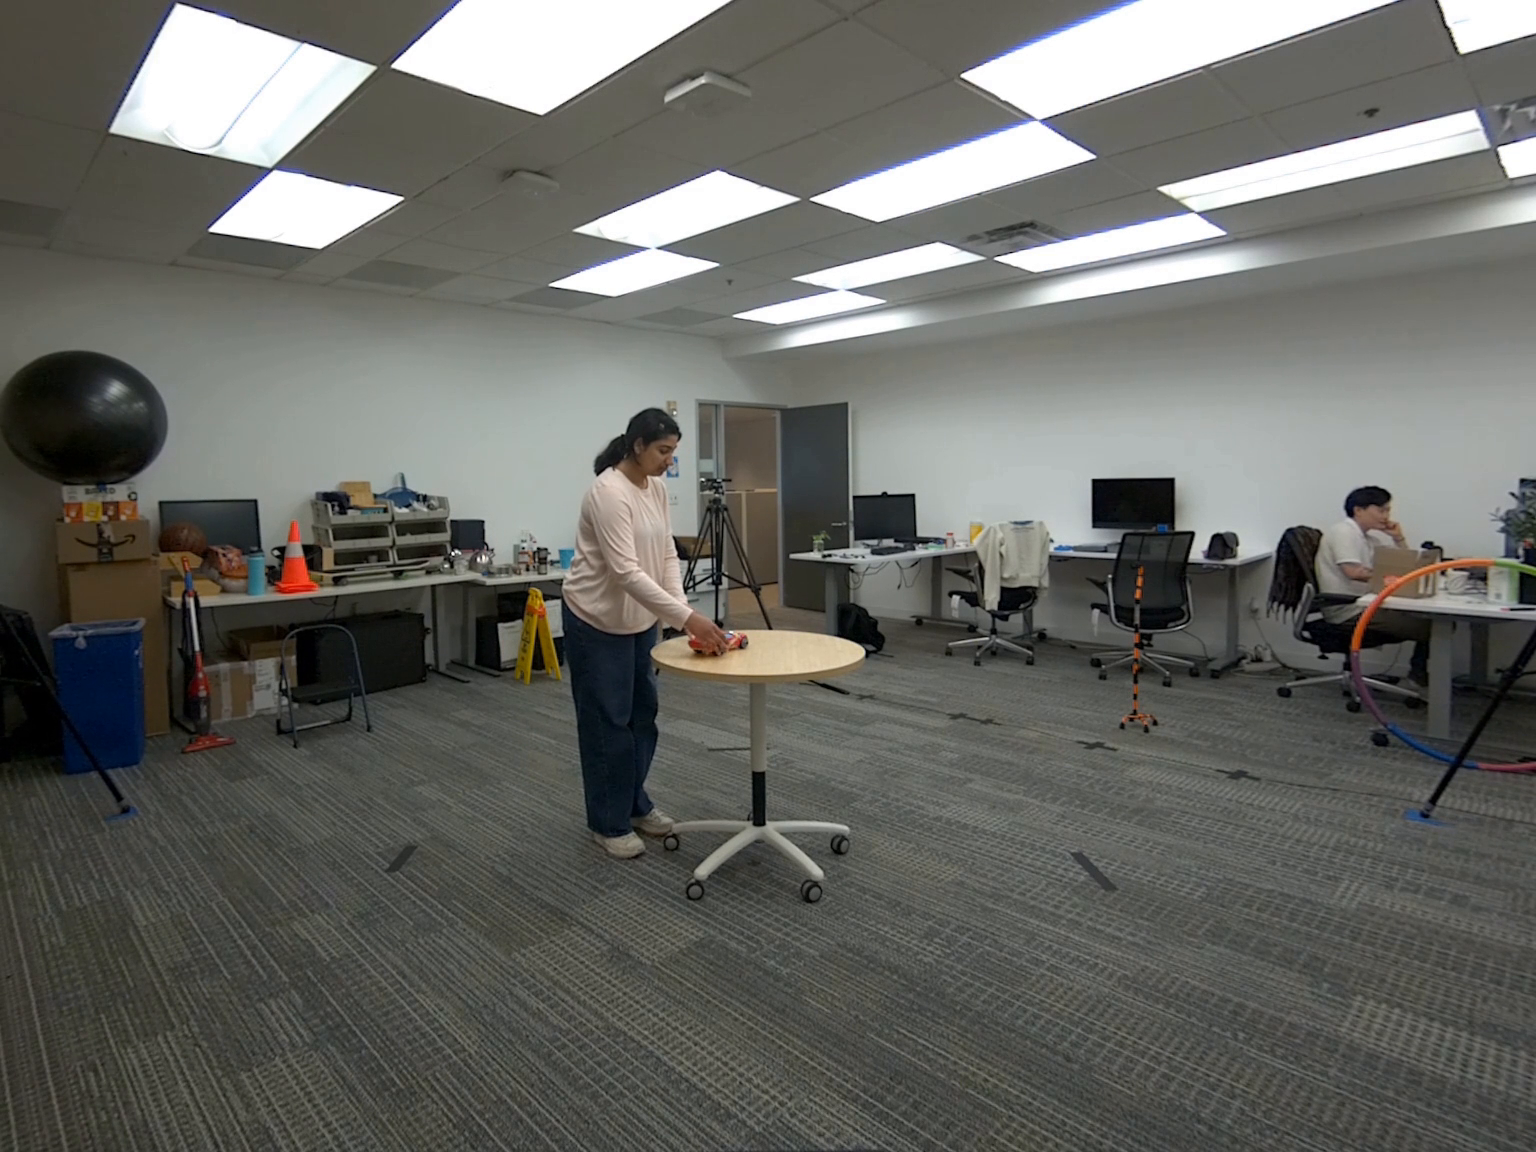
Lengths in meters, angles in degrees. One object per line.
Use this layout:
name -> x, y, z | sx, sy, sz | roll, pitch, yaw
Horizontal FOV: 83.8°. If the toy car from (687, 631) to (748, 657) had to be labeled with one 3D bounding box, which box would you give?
toy car -> -0.175, 0.237, 3.037 | 0.134, 0.083, 0.246 | 4, -4, 38
